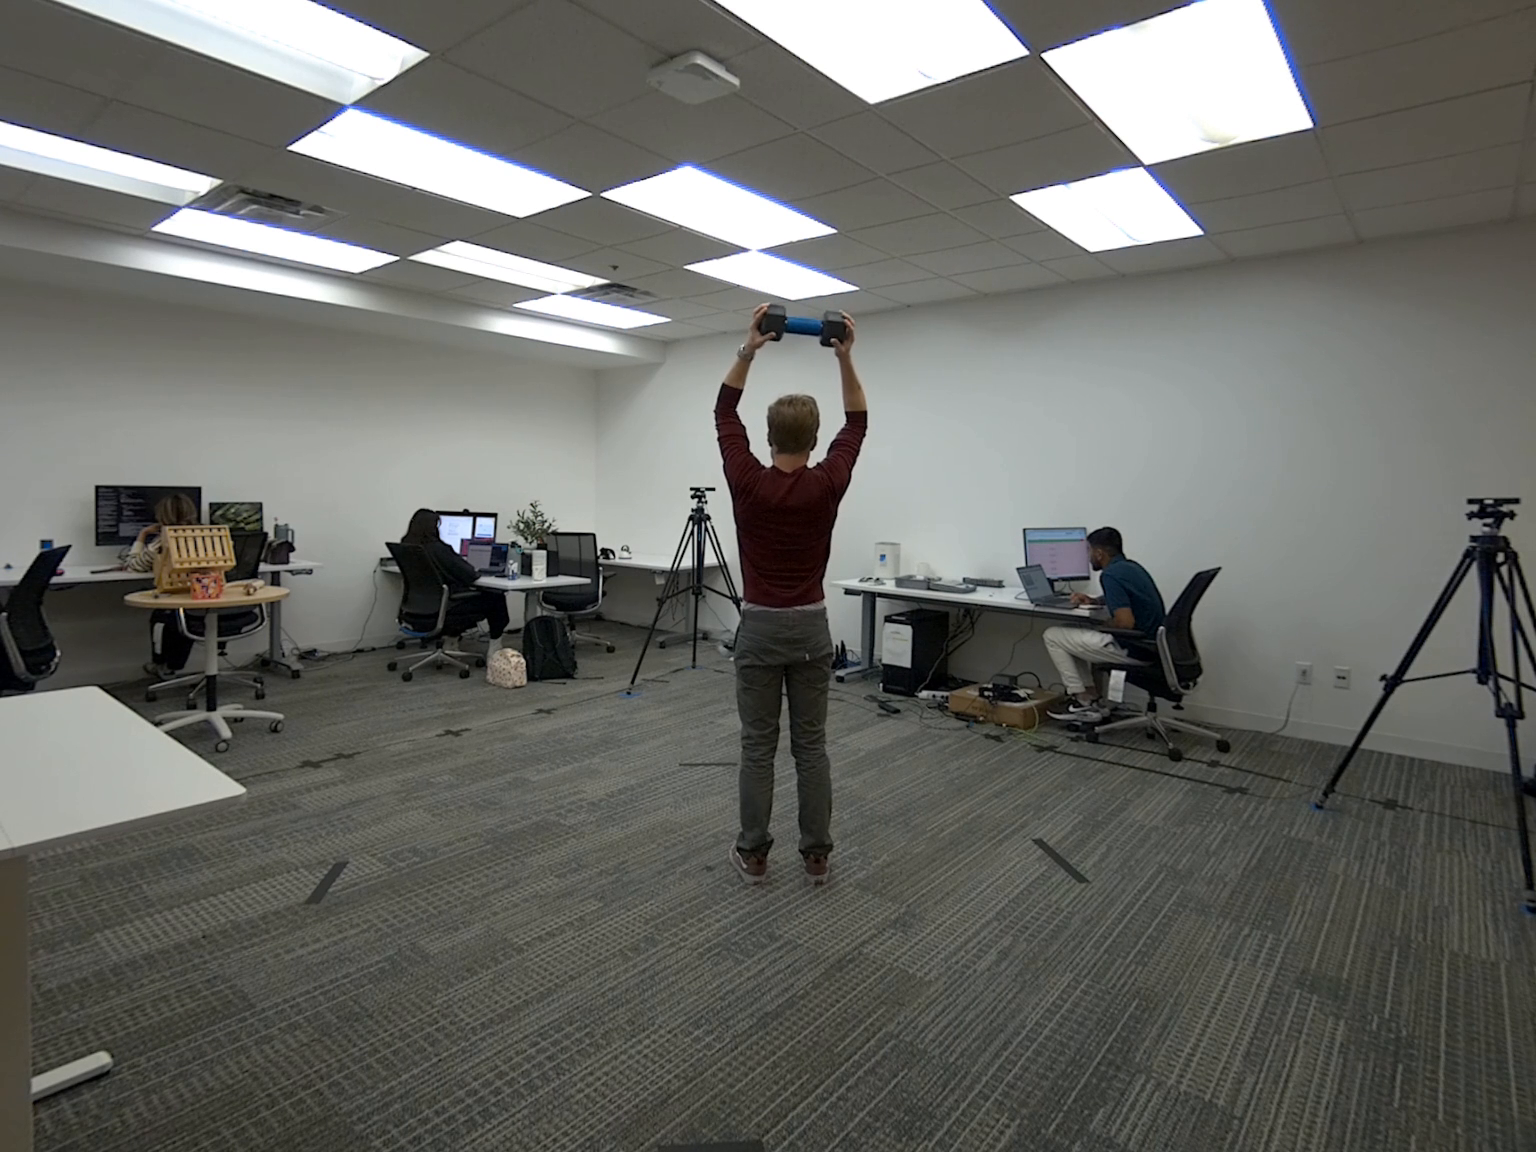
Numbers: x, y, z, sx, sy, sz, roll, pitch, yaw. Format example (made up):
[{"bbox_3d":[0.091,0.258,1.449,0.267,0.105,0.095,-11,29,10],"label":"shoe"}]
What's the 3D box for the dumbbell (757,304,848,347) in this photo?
[{"bbox_3d":[0.113,-0.862,2.943,0.293,0.110,0.122,4,-14,-3],"label":"dumbbell"}]
